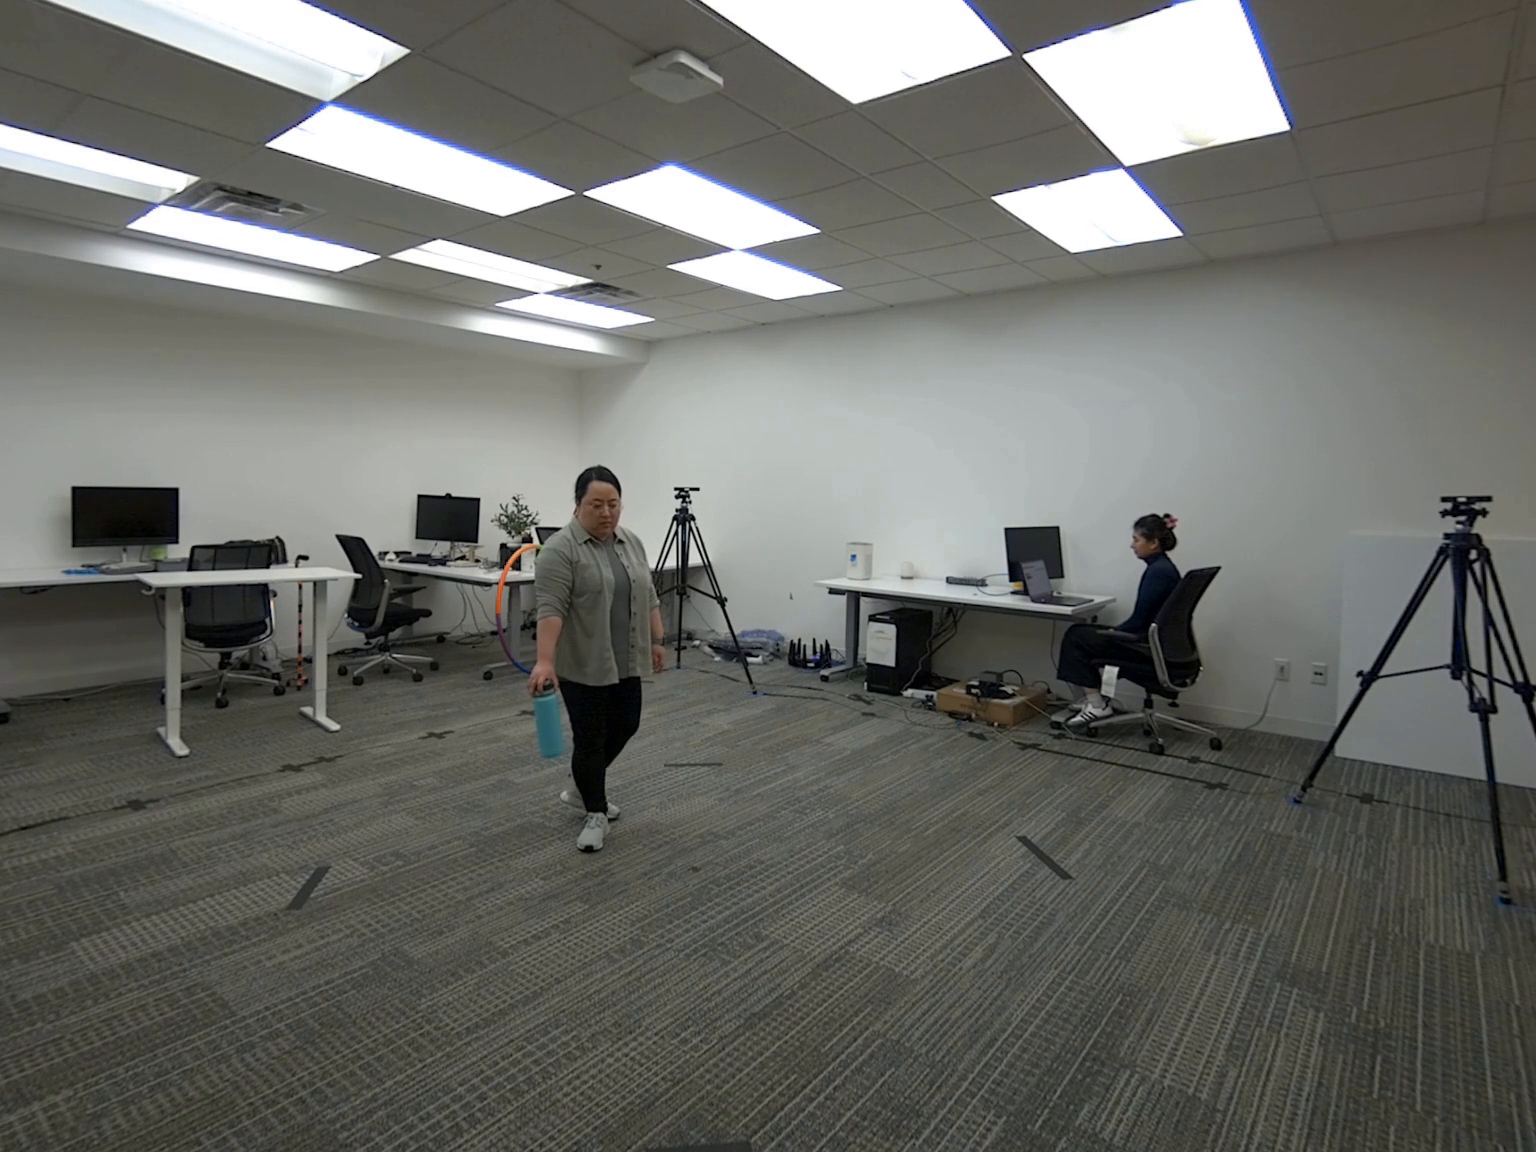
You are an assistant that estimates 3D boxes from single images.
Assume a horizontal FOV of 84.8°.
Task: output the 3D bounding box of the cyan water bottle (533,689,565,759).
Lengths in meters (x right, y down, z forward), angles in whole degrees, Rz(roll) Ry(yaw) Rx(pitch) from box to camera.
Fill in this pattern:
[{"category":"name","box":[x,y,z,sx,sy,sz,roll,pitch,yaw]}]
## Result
[{"category":"cyan water bottle","box":[-0.816,0.519,3.114,0.092,0.281,0.093,-10,6,0]}]
